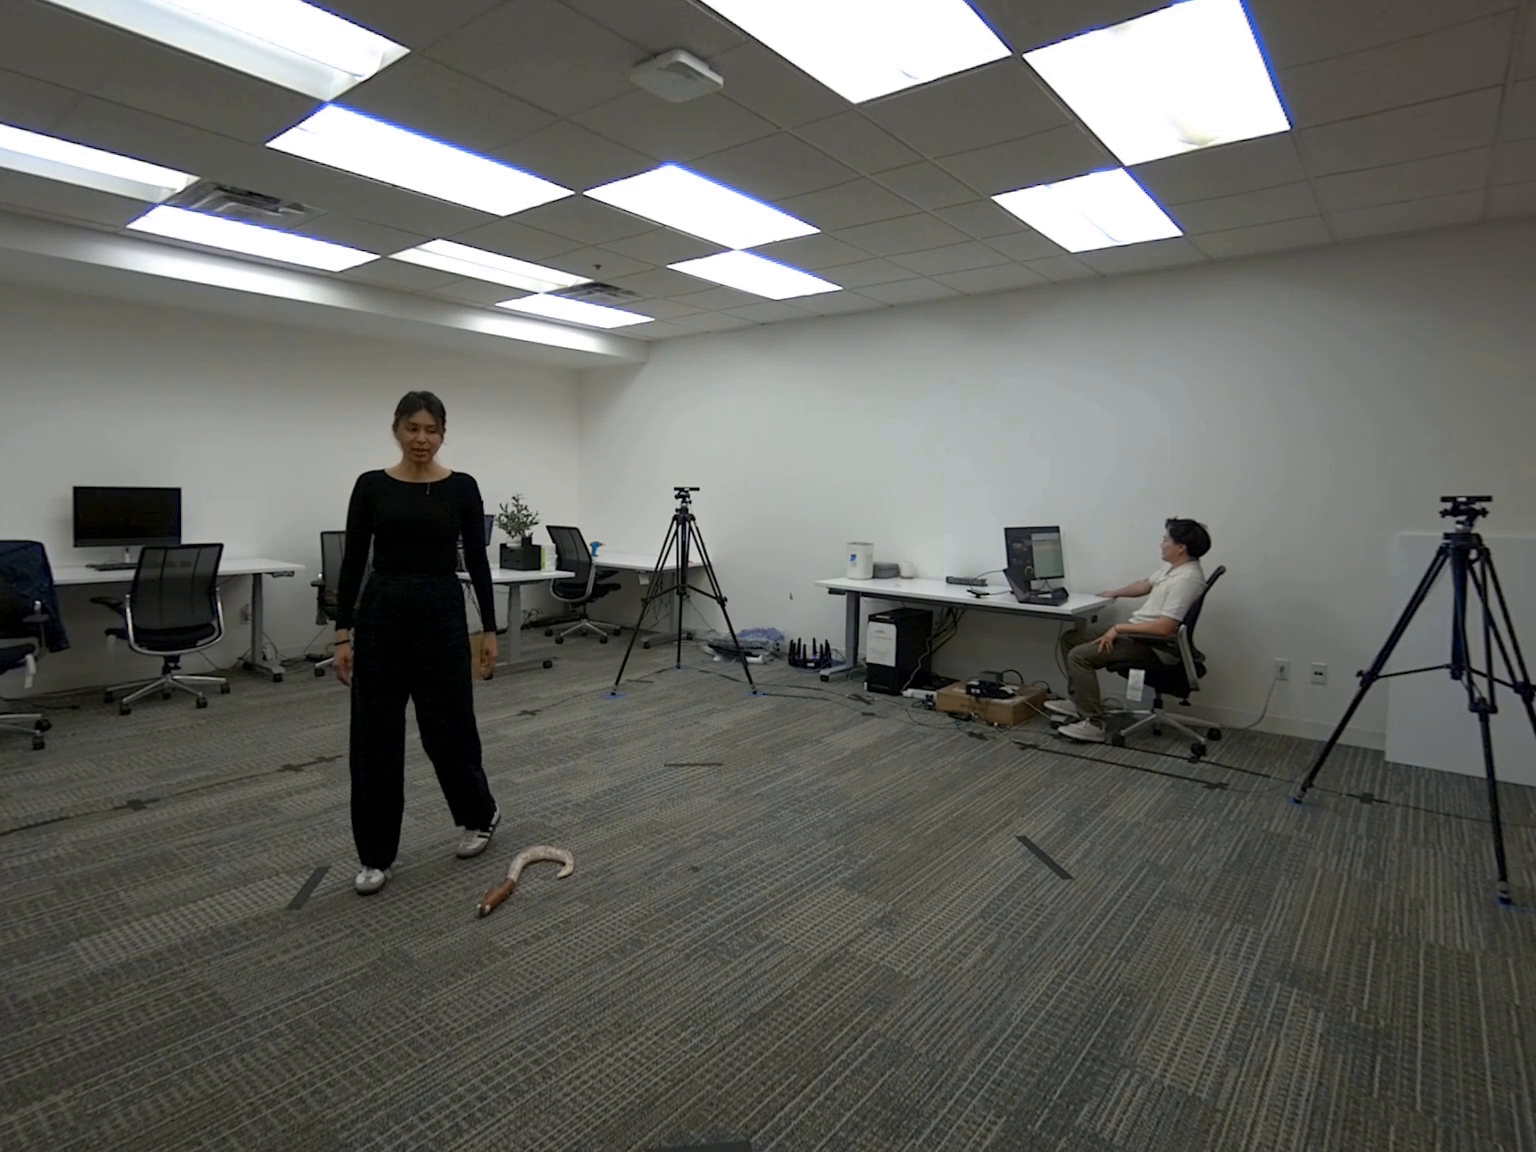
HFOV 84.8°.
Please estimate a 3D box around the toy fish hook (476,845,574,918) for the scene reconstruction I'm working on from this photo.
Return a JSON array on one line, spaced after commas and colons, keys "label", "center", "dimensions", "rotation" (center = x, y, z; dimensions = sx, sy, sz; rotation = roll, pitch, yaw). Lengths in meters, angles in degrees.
[{"label": "toy fish hook", "center": [-0.840, 1.050, 2.950], "dimensions": [0.227, 0.048, 0.503], "rotation": [0, 6, 10]}]
